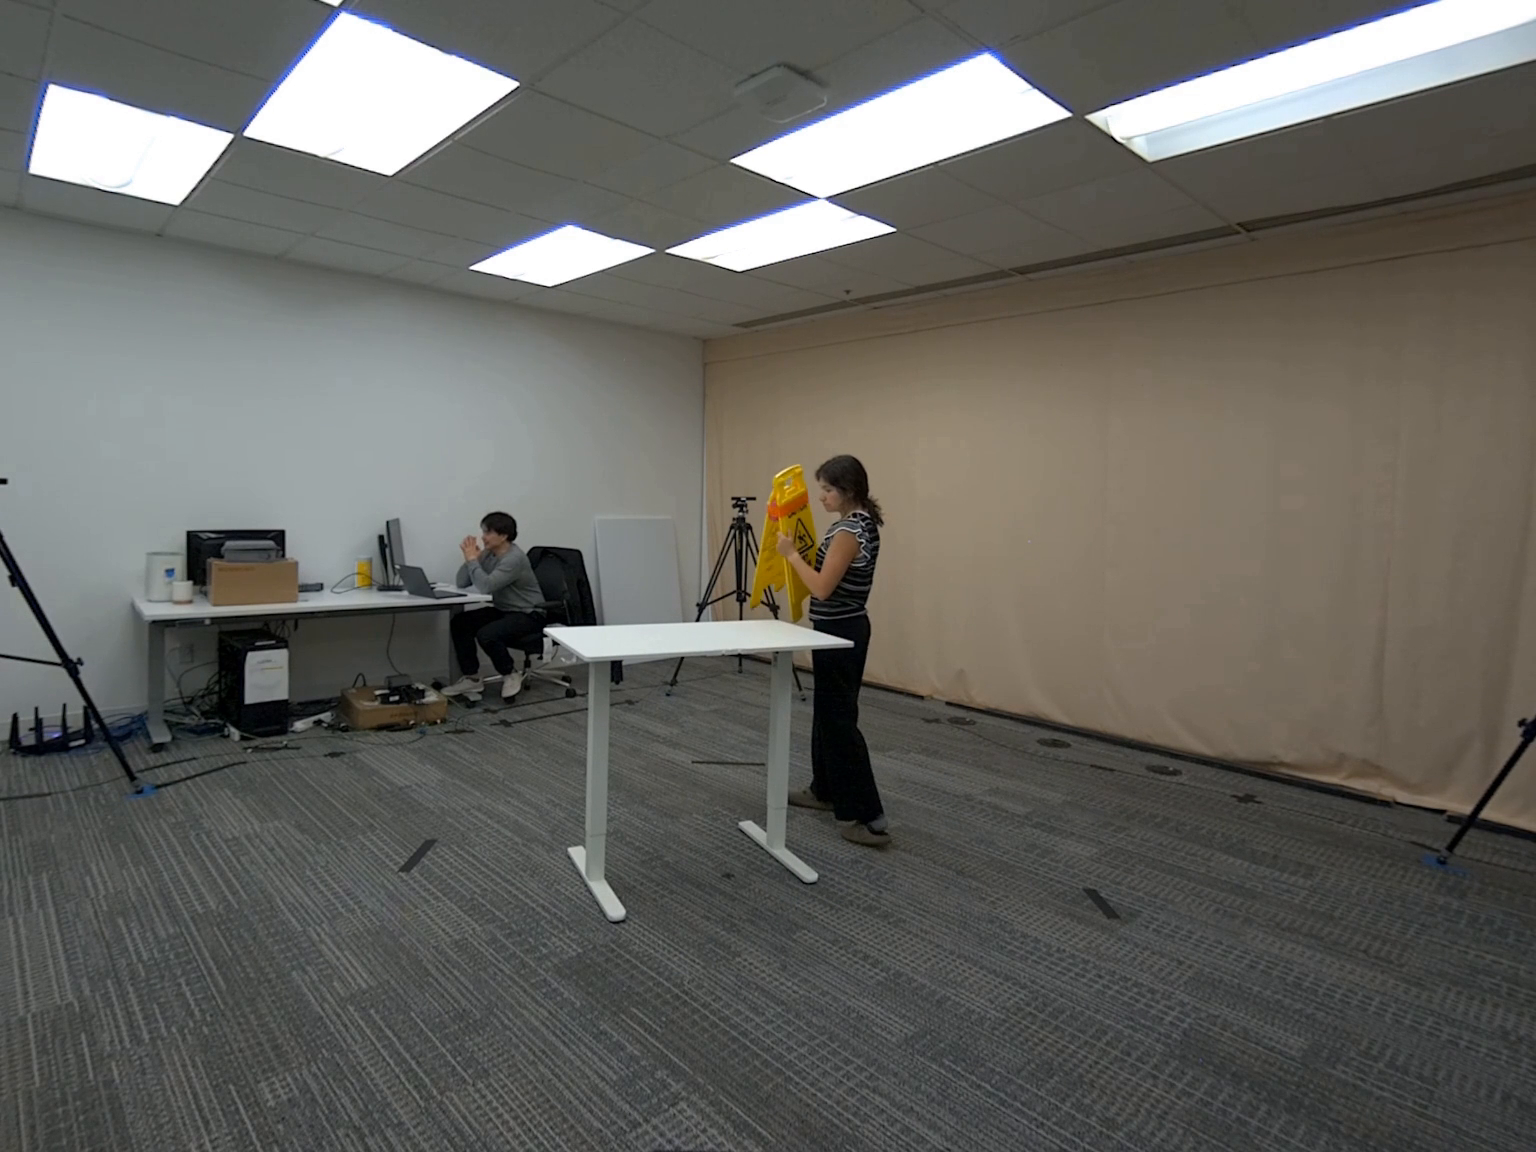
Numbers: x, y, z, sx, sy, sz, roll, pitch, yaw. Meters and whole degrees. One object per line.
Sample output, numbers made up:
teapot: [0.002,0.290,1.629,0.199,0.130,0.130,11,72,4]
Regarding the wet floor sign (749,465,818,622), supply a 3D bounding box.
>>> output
wet floor sign: [0.090,-0.158,3.709,0.297,0.635,0.280,16,30,30]
